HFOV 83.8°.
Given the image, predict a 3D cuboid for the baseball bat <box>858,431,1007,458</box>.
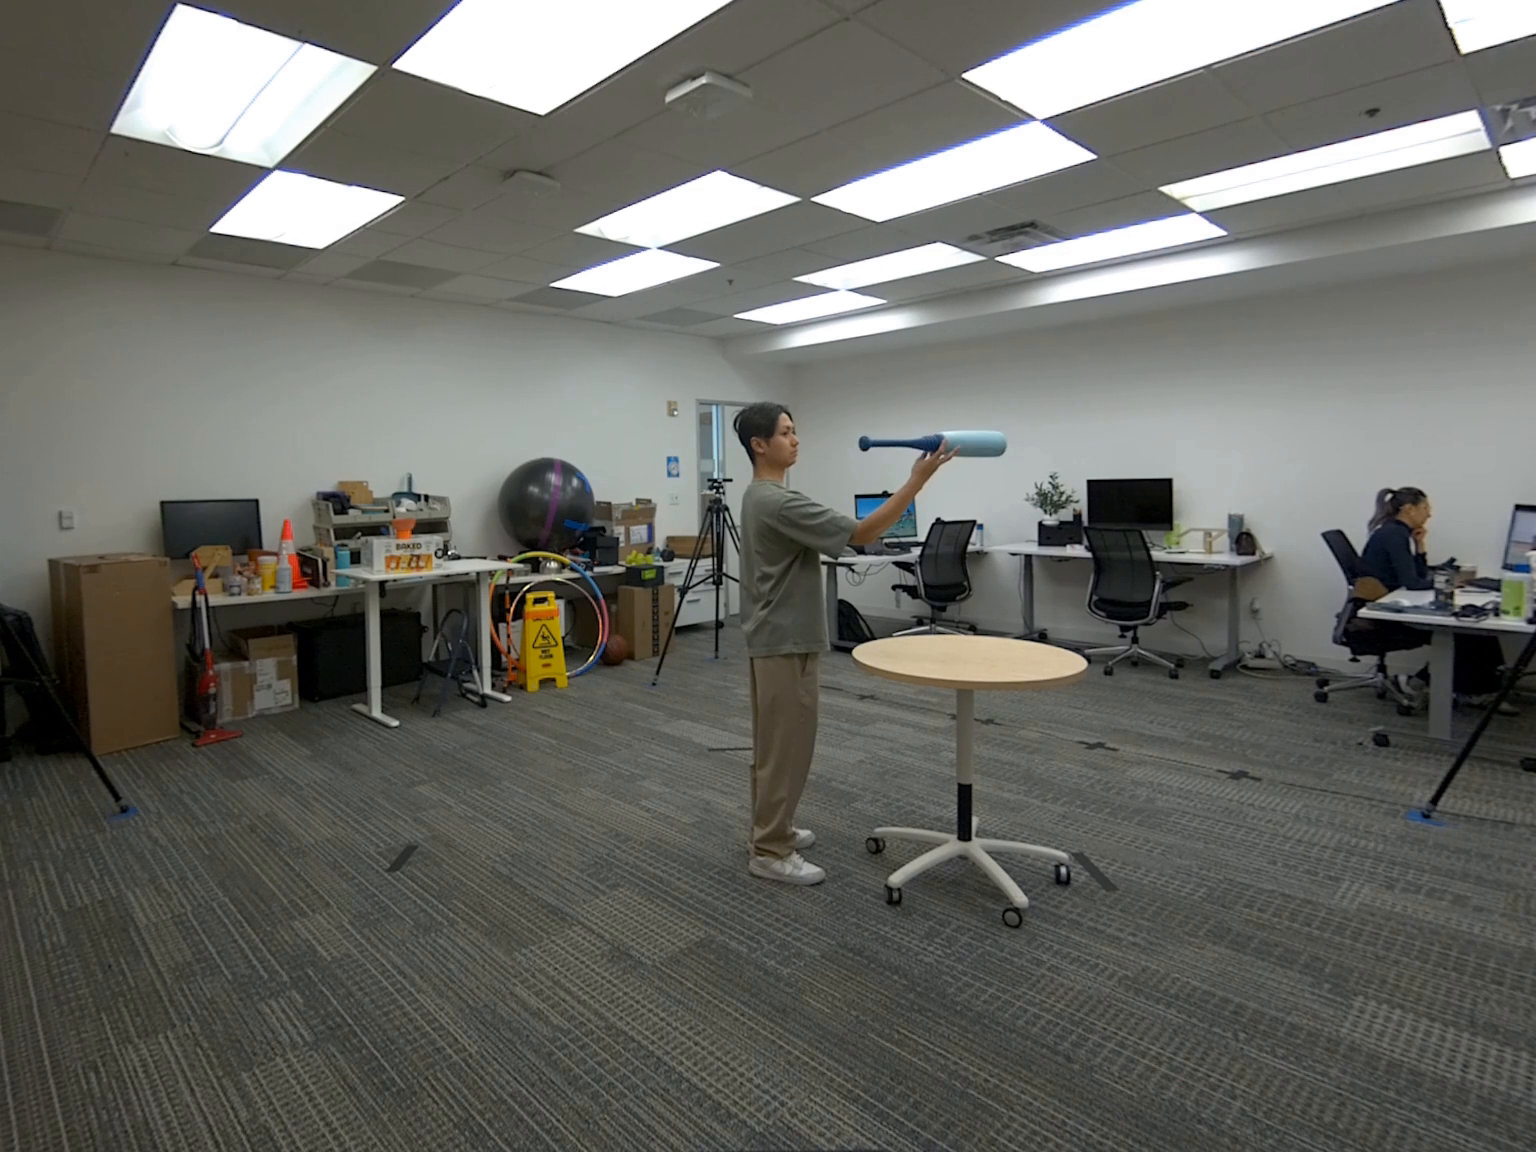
[{"bbox_3d":[0.541,-0.428,2.772,0.533,0.089,0.091,-3,5,-22],"label":"baseball bat"}]
